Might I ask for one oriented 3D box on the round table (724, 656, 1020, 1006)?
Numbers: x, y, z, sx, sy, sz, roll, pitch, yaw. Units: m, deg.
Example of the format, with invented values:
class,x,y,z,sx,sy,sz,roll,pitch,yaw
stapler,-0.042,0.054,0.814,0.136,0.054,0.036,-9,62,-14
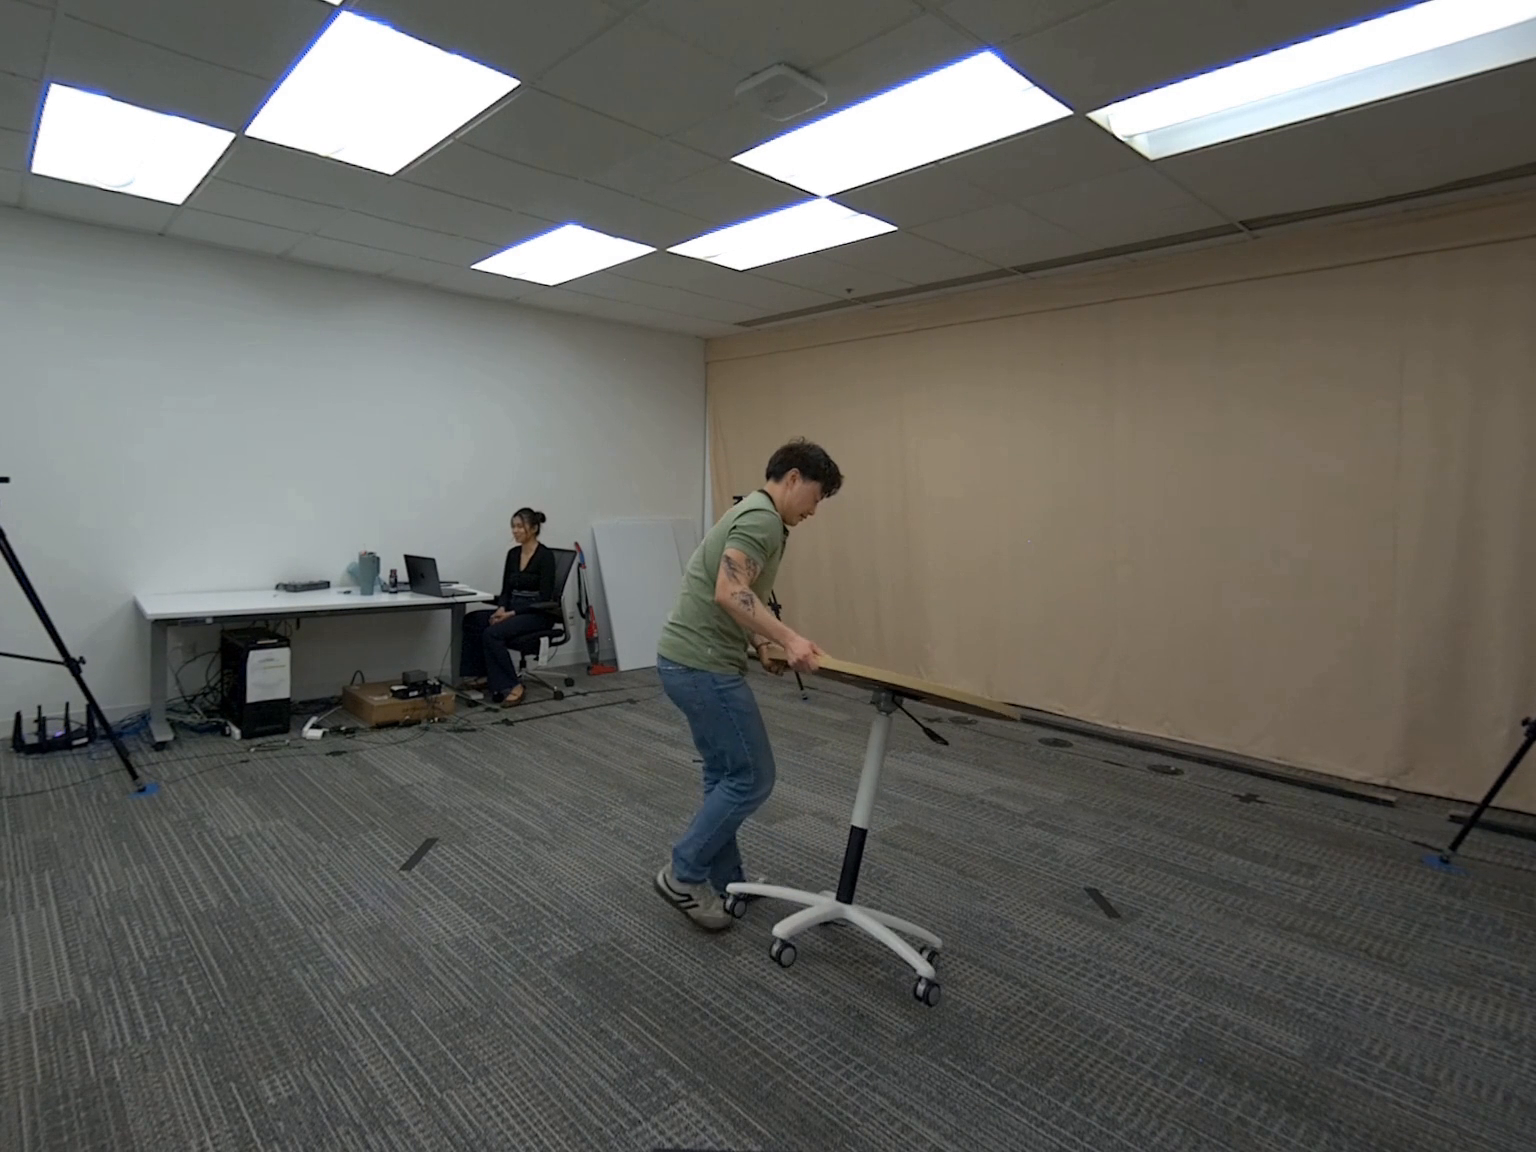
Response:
class,x,y,z,sx,sy,sz,roll,pitch,yaw
round table,0.281,0.711,2.499,0.765,0.798,0.759,14,-9,1
